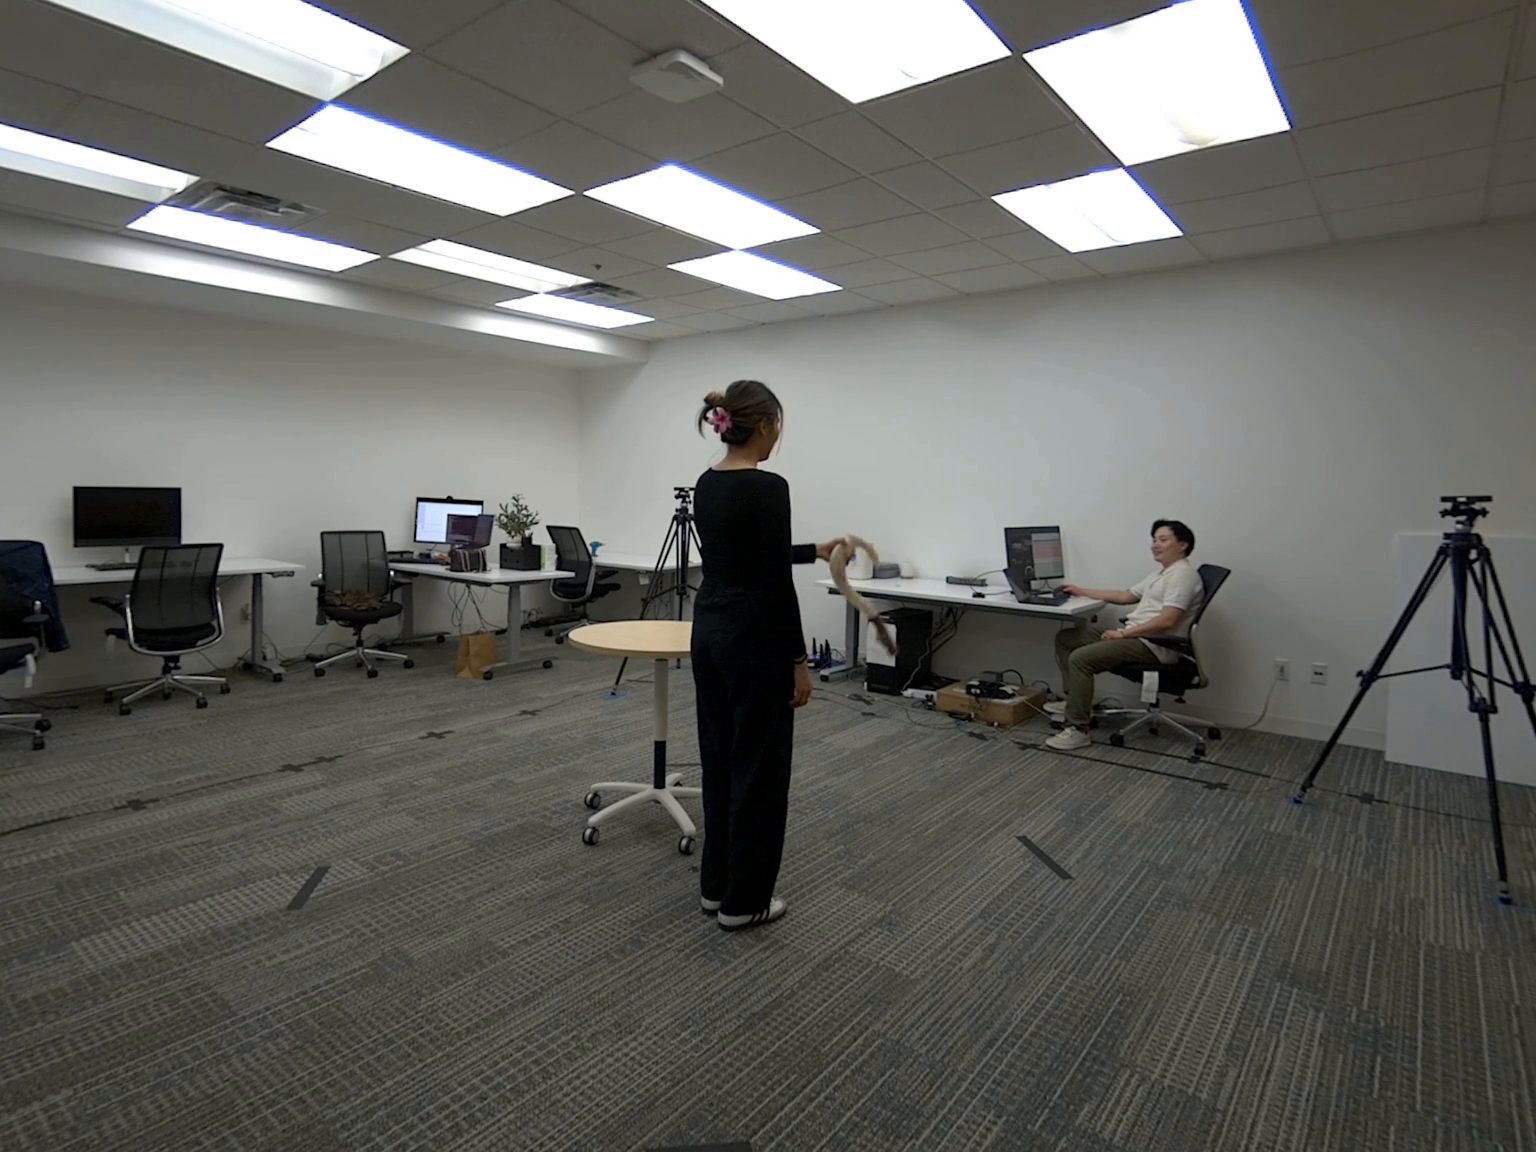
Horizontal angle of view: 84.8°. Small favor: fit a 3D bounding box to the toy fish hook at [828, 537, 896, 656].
[{"bbox_3d":[0.357,0.048,3.089,0.224,0.493,0.050,-40,23,-21],"label":"toy fish hook"}]
